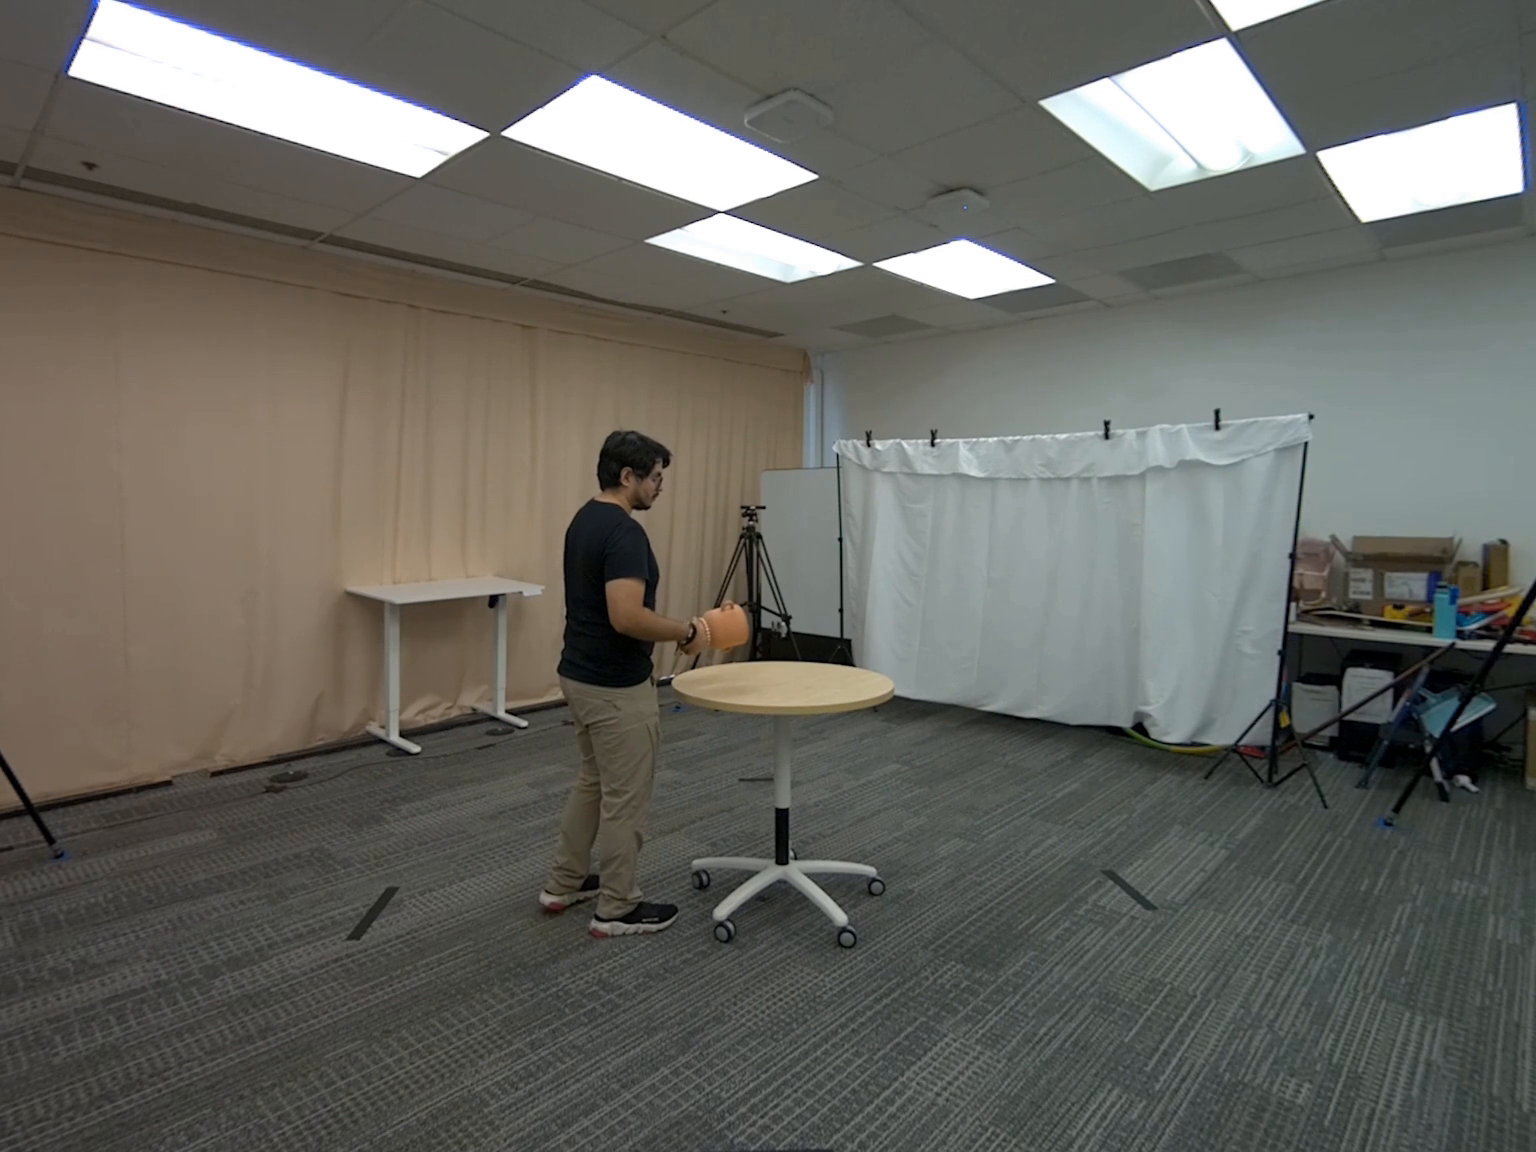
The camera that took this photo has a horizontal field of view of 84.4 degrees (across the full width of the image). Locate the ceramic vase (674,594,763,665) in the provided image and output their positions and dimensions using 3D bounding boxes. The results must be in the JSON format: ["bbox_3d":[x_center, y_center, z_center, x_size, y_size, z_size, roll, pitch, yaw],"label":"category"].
[{"bbox_3d":[-0.168,0.175,2.788,0.214,0.160,0.136,-12,-13,-31],"label":"ceramic vase"}]
